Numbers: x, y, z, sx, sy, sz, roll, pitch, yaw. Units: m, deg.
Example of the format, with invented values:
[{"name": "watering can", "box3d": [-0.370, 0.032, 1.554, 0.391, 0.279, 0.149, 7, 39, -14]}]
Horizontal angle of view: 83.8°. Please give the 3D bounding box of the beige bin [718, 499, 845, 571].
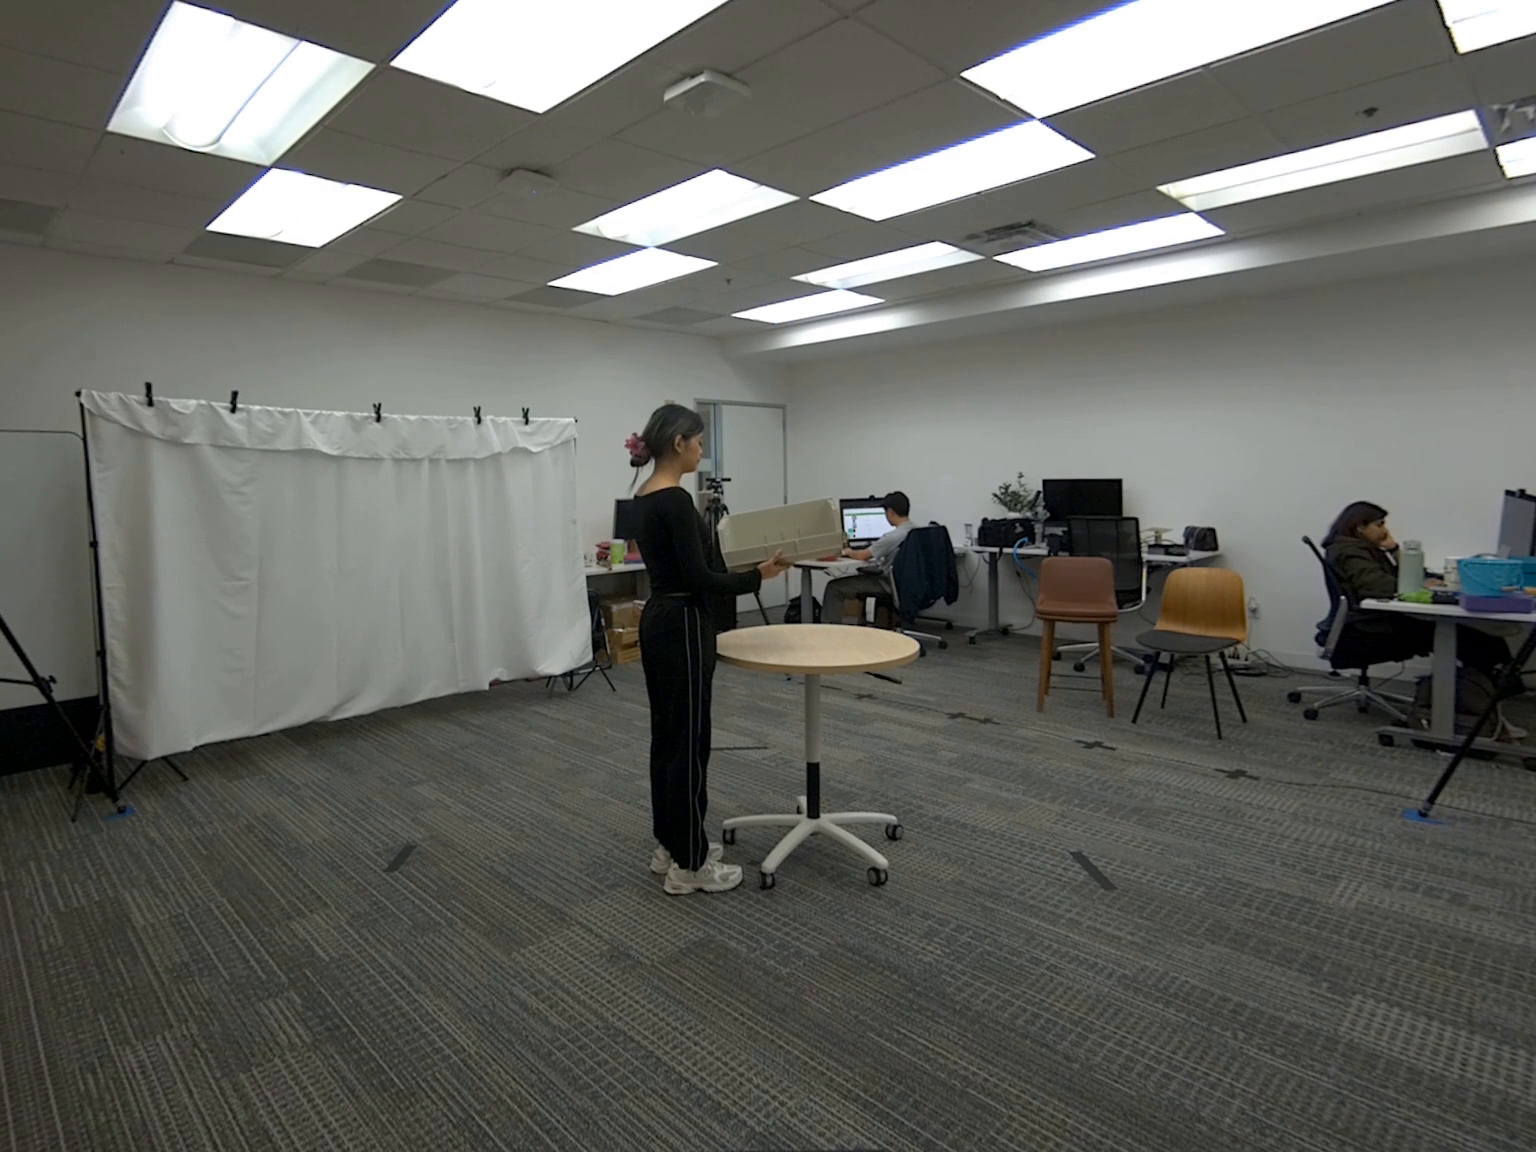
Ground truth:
[{"name": "beige bin", "box3d": [0.051, -0.139, 3.086, 0.424, 0.187, 0.379, -12, 8, 4]}]
